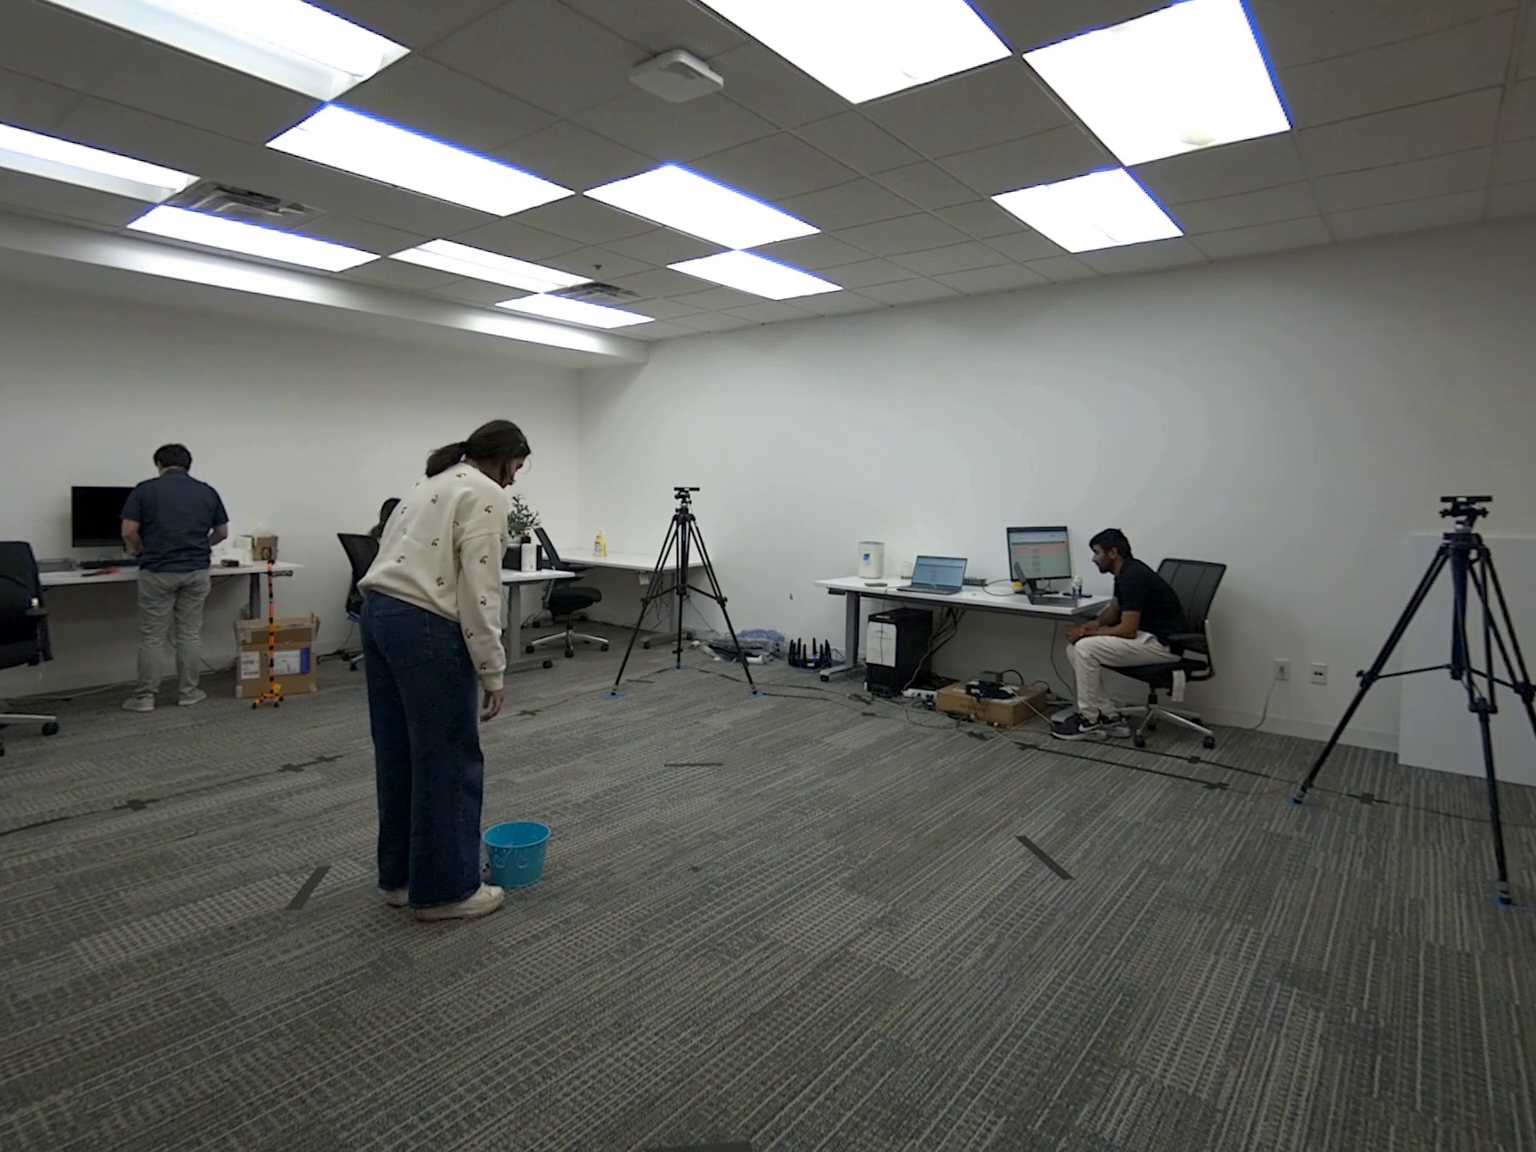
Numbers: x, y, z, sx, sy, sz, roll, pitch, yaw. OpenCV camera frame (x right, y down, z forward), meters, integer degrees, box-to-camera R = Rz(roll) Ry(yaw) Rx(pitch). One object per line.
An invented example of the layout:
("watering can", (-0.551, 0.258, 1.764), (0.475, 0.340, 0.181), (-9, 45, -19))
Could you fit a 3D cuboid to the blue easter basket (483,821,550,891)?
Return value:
("blue easter basket", (-0.902, 0.984, 3.023), (0.243, 0.155, 0.245), (1, 5, -2))
